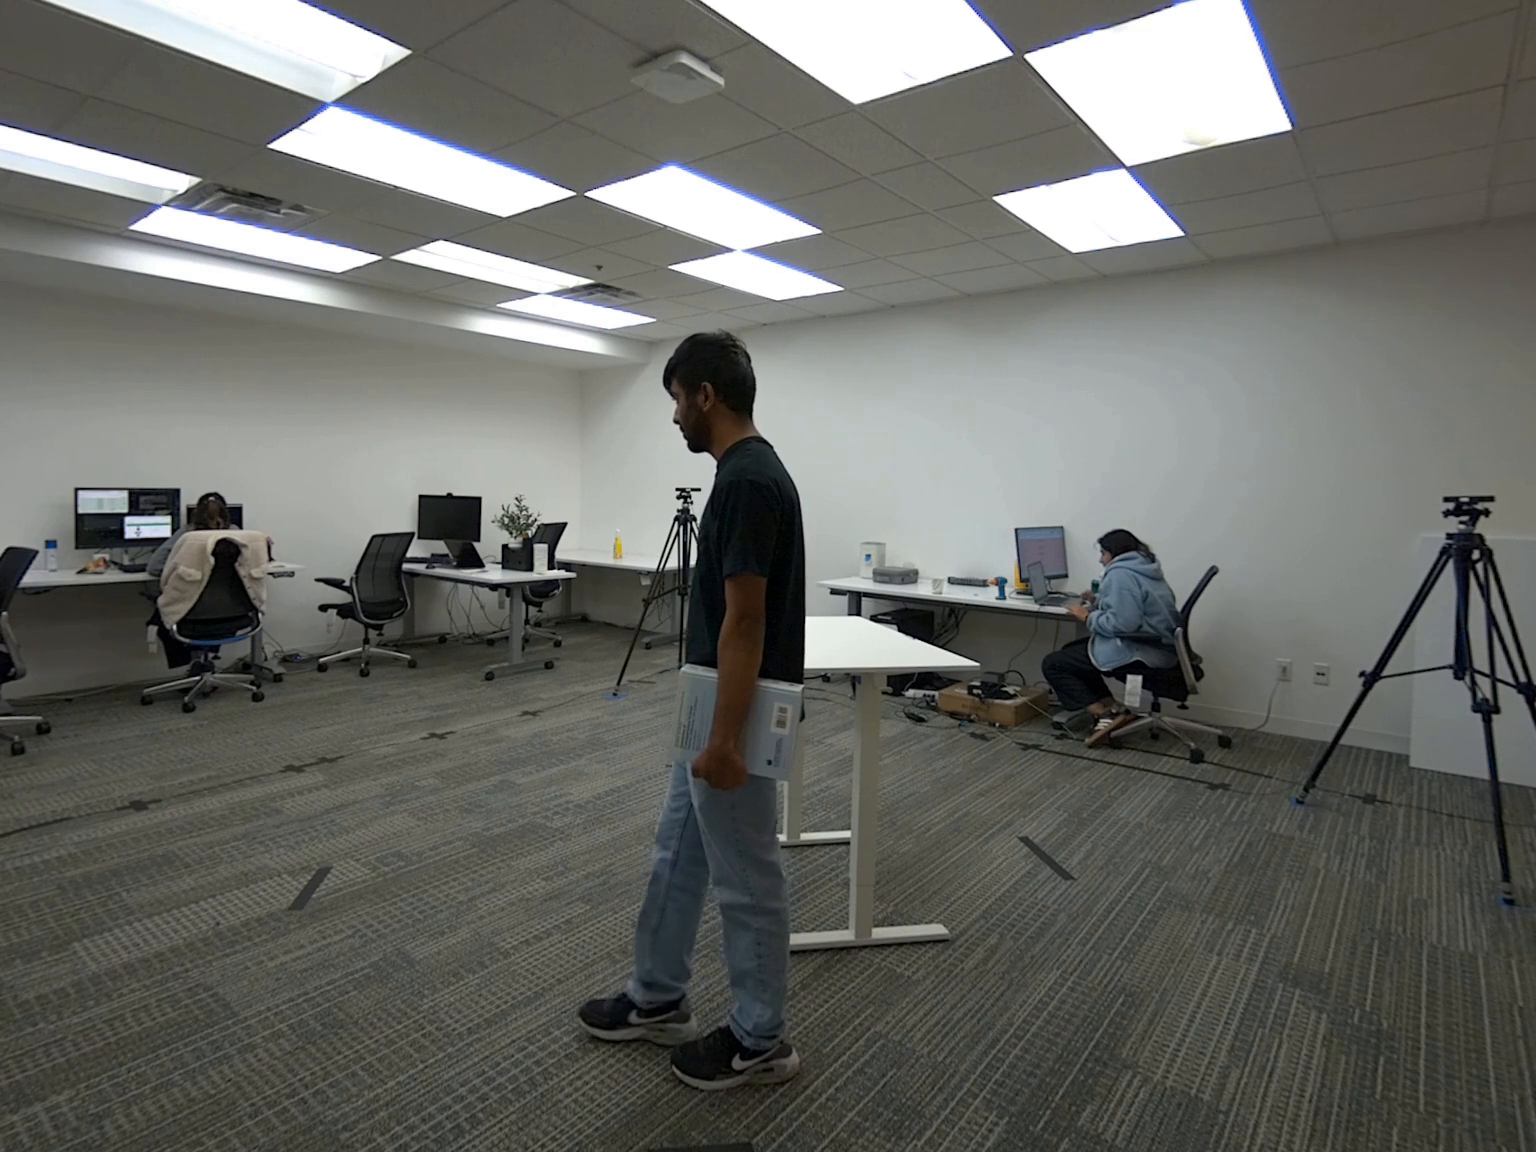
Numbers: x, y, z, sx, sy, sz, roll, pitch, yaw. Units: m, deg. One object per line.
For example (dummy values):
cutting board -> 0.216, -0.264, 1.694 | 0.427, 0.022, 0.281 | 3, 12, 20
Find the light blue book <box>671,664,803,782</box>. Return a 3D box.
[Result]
light blue book -> -0.055, 0.301, 1.786 | 0.265, 0.192, 0.058 | 3, -4, 15
